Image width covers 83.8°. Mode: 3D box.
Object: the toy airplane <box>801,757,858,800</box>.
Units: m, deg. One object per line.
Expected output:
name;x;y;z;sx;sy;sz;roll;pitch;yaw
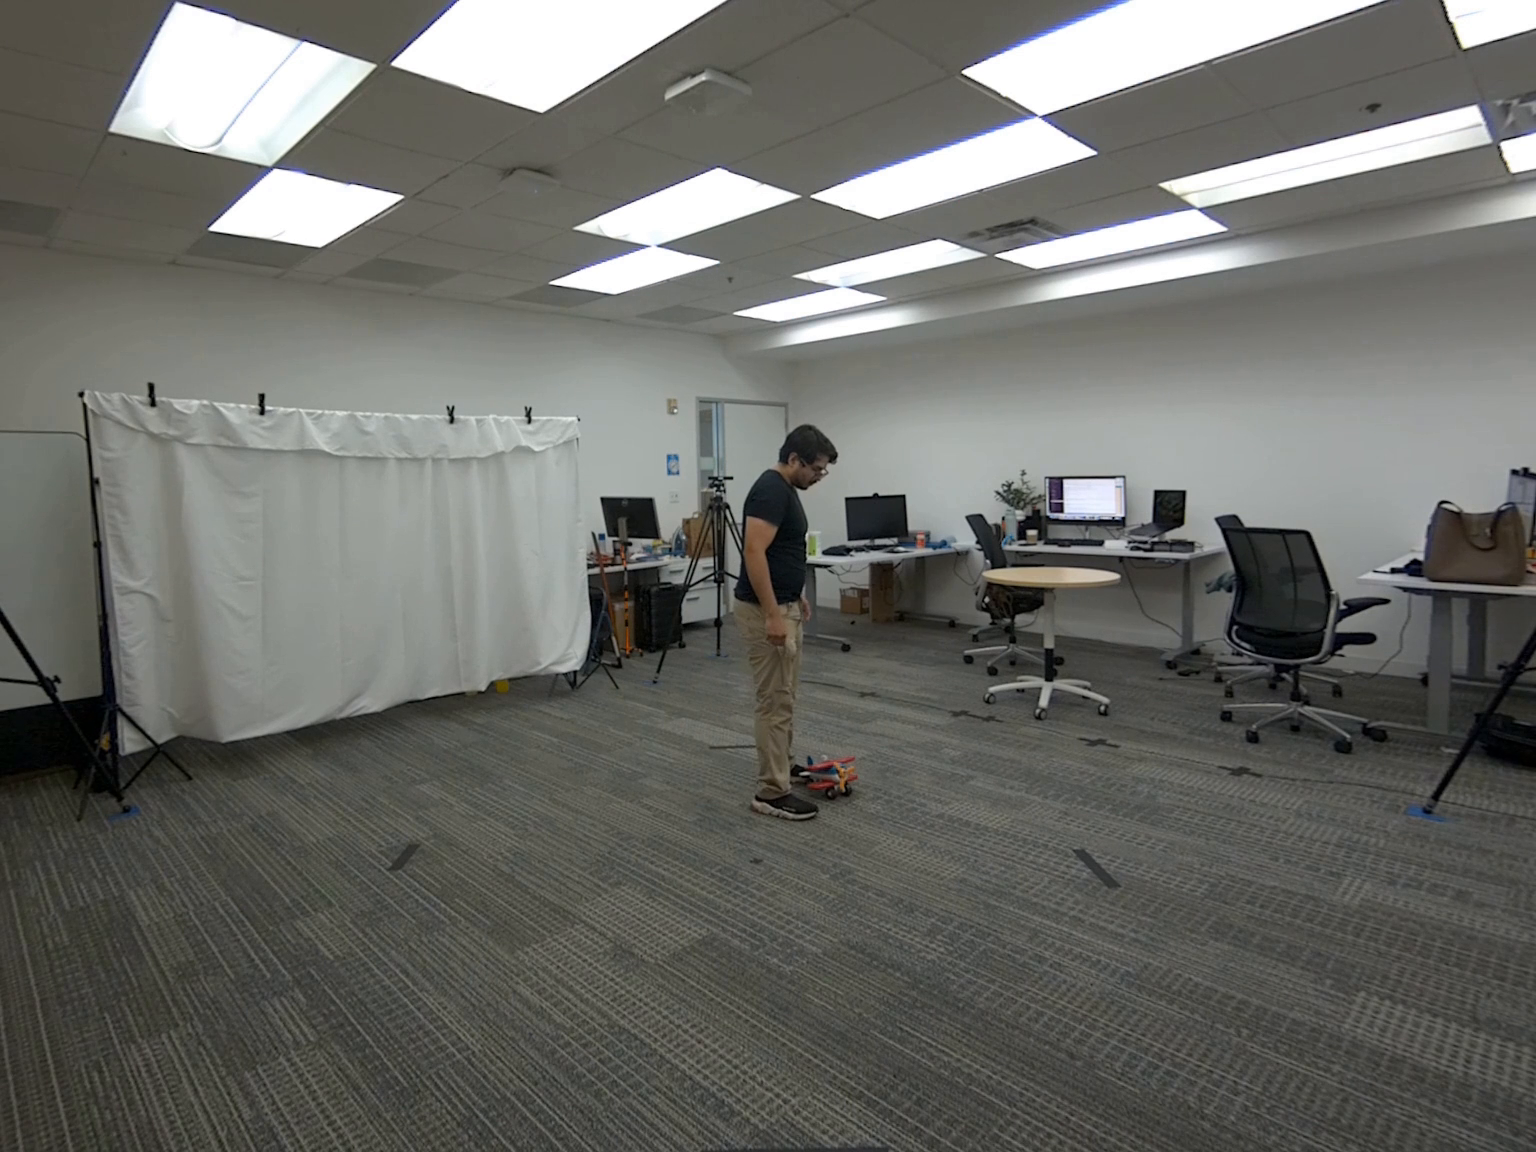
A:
toy airplane;0.248;0.882;3.764;0.266;0.156;0.246;2;6;27
